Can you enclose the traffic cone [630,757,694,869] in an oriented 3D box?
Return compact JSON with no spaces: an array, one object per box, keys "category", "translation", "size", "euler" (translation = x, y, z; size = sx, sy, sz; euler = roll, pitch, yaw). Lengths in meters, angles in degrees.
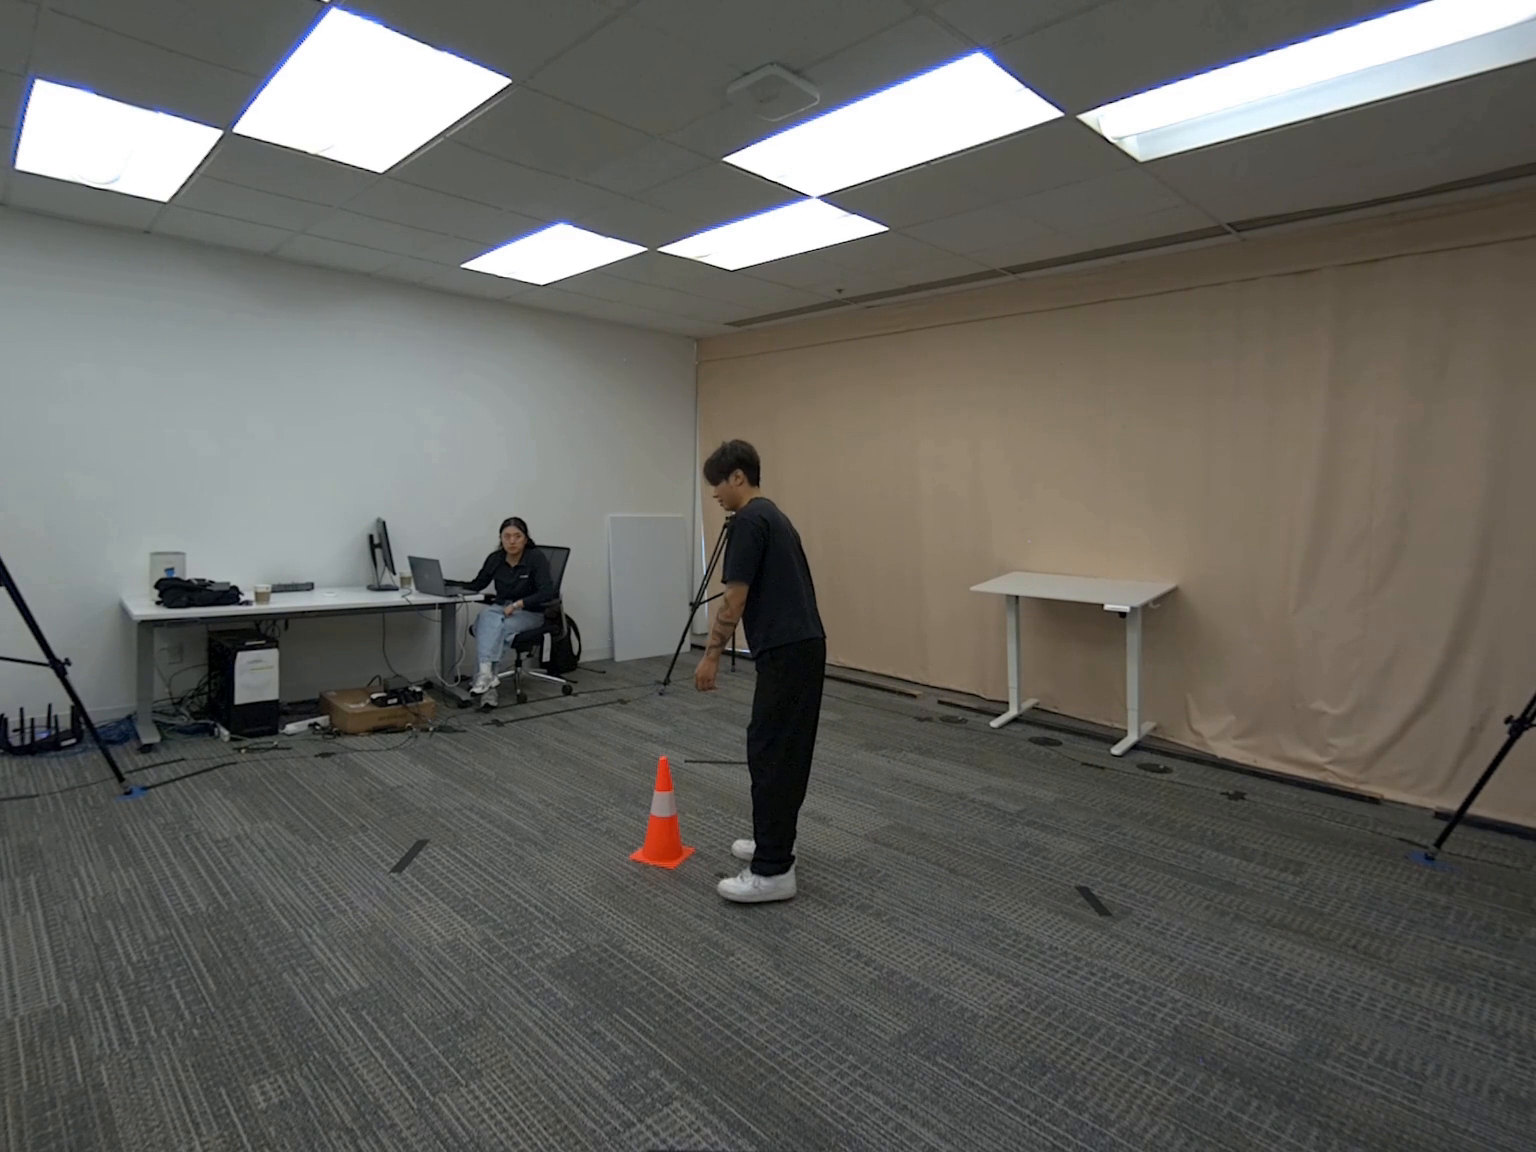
[{"category":"traffic cone","translation":[-0.405,0.892,3.269],"size":[0.207,0.383,0.201],"euler":[4,4,25]}]
